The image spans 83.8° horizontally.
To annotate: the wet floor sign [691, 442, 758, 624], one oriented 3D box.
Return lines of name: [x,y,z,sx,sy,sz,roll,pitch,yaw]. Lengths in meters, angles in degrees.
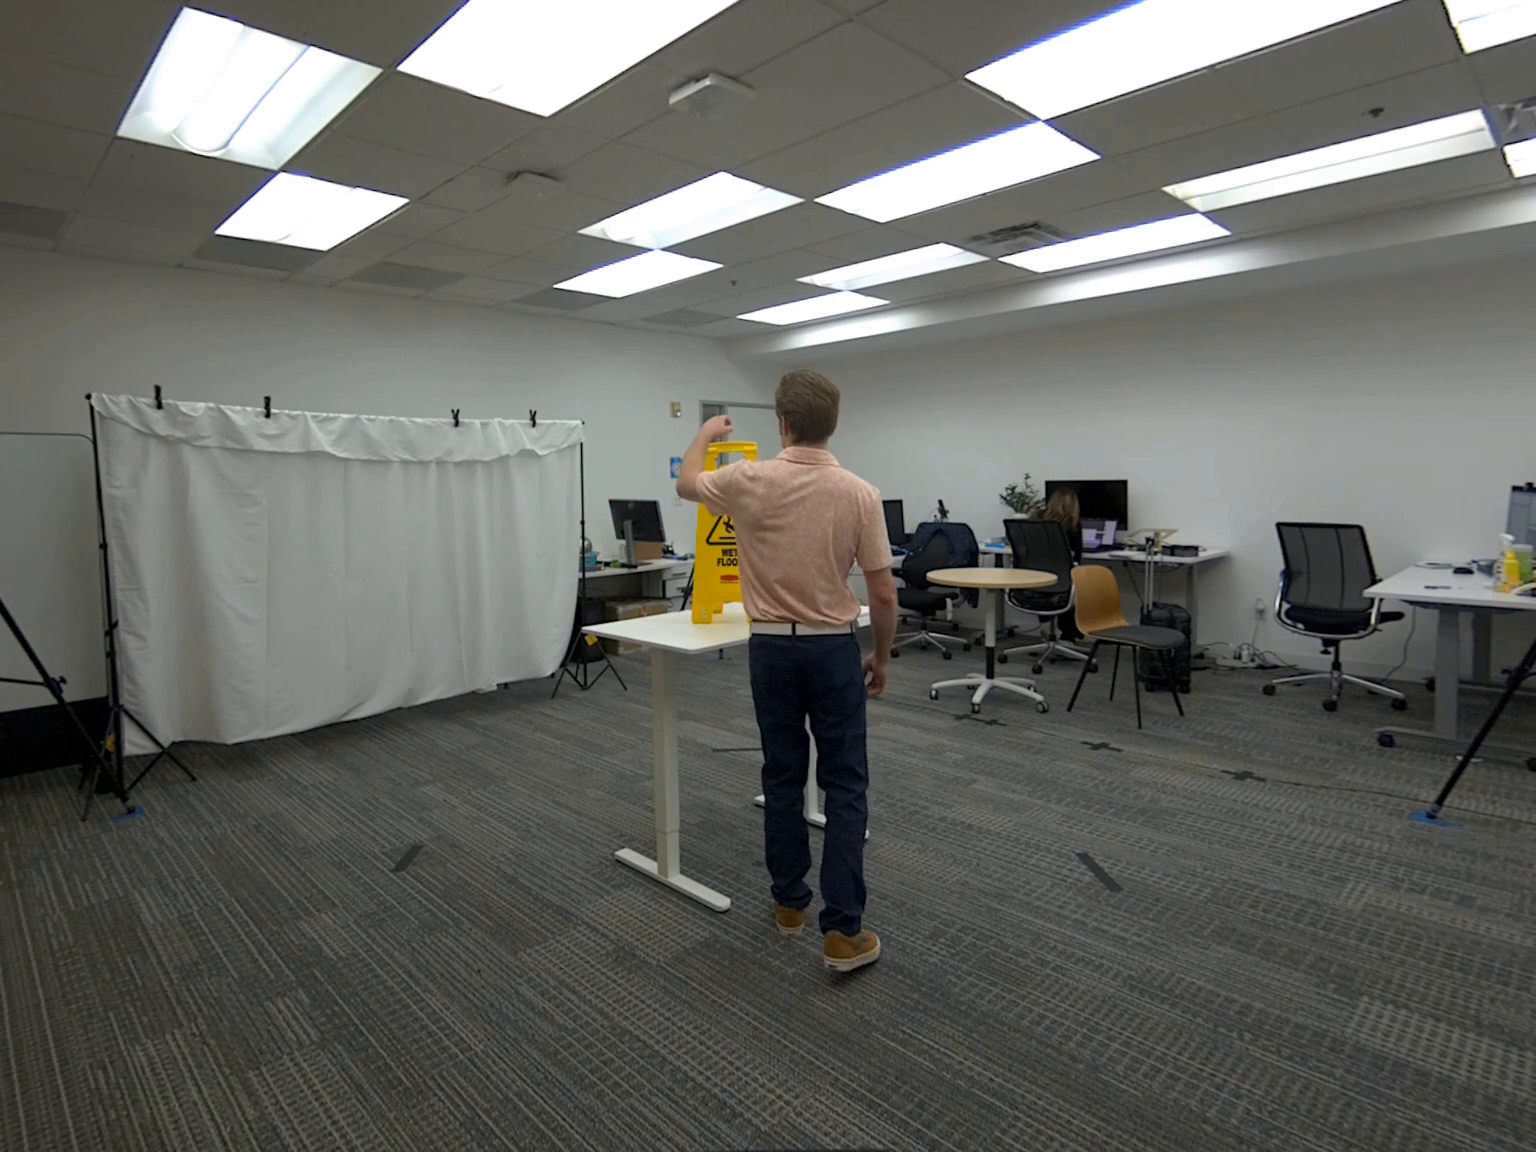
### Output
wet floor sign: [-0.131,-0.164,3.157,0.284,0.644,0.289,-2,4,6]
